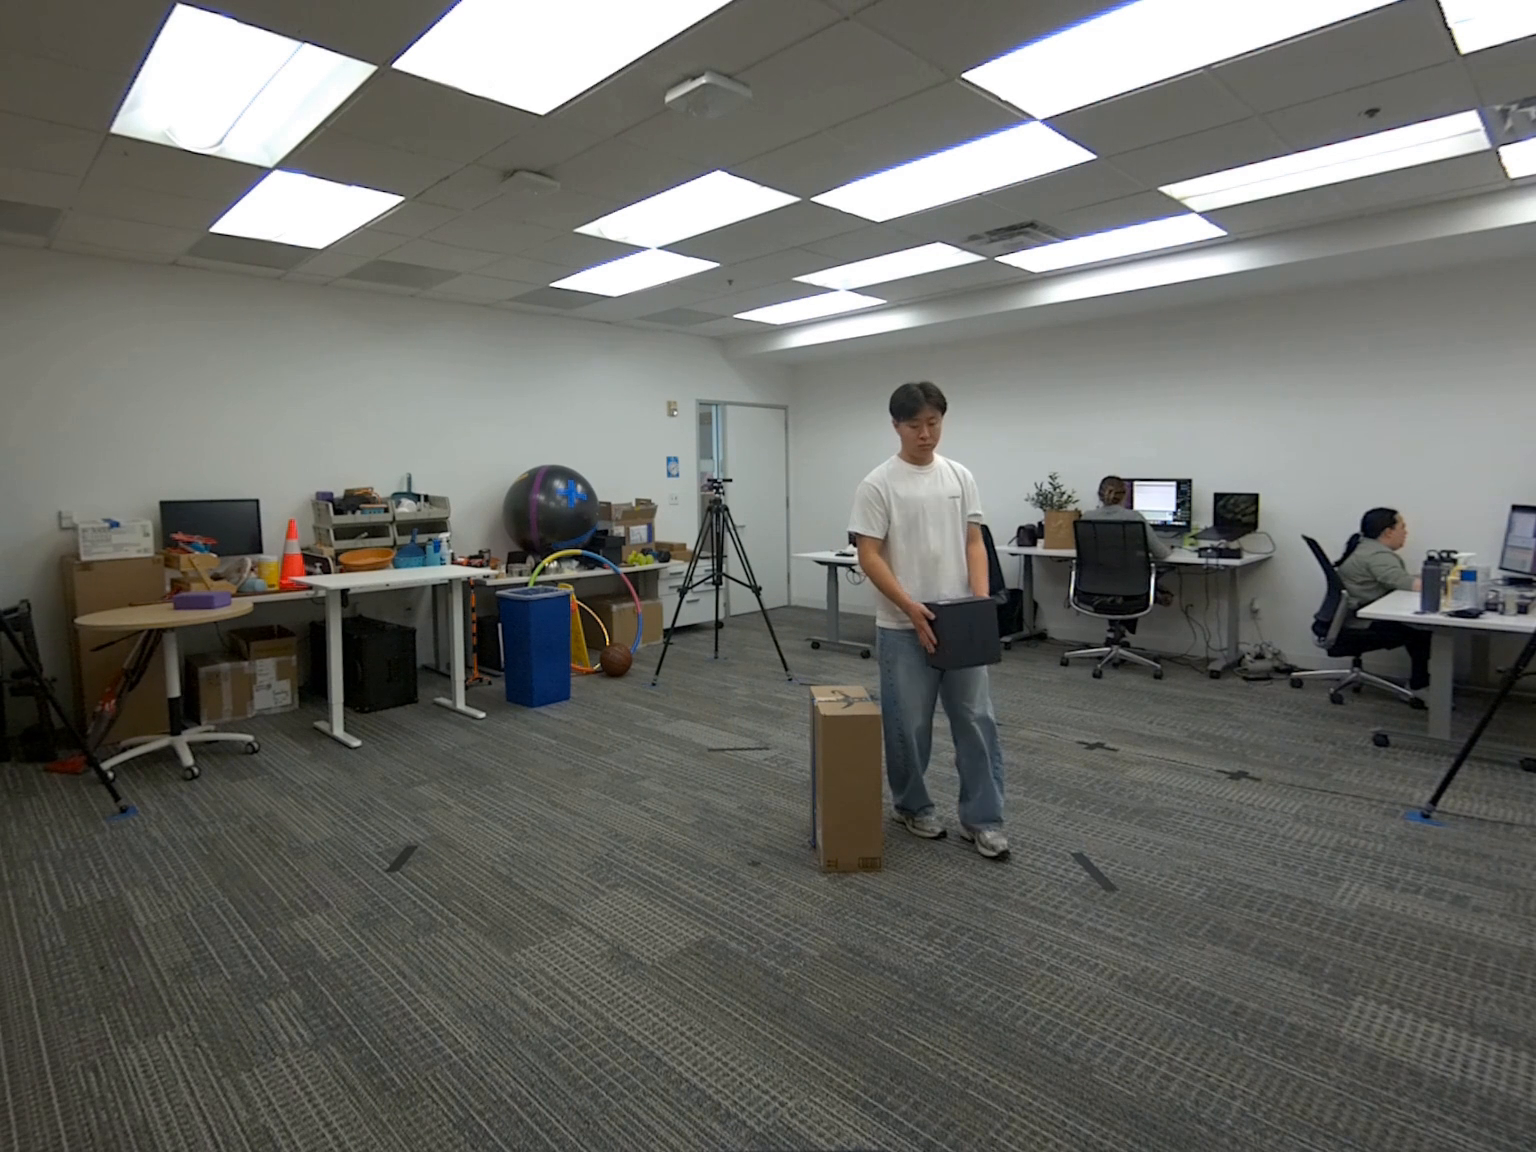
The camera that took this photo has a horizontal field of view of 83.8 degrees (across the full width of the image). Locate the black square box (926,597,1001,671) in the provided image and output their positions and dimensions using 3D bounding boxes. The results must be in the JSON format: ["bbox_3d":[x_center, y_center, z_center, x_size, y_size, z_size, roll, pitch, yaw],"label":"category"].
[{"bbox_3d":[0.686,0.203,3.014,0.214,0.227,0.158,-6,3,-15],"label":"black square box"}]
